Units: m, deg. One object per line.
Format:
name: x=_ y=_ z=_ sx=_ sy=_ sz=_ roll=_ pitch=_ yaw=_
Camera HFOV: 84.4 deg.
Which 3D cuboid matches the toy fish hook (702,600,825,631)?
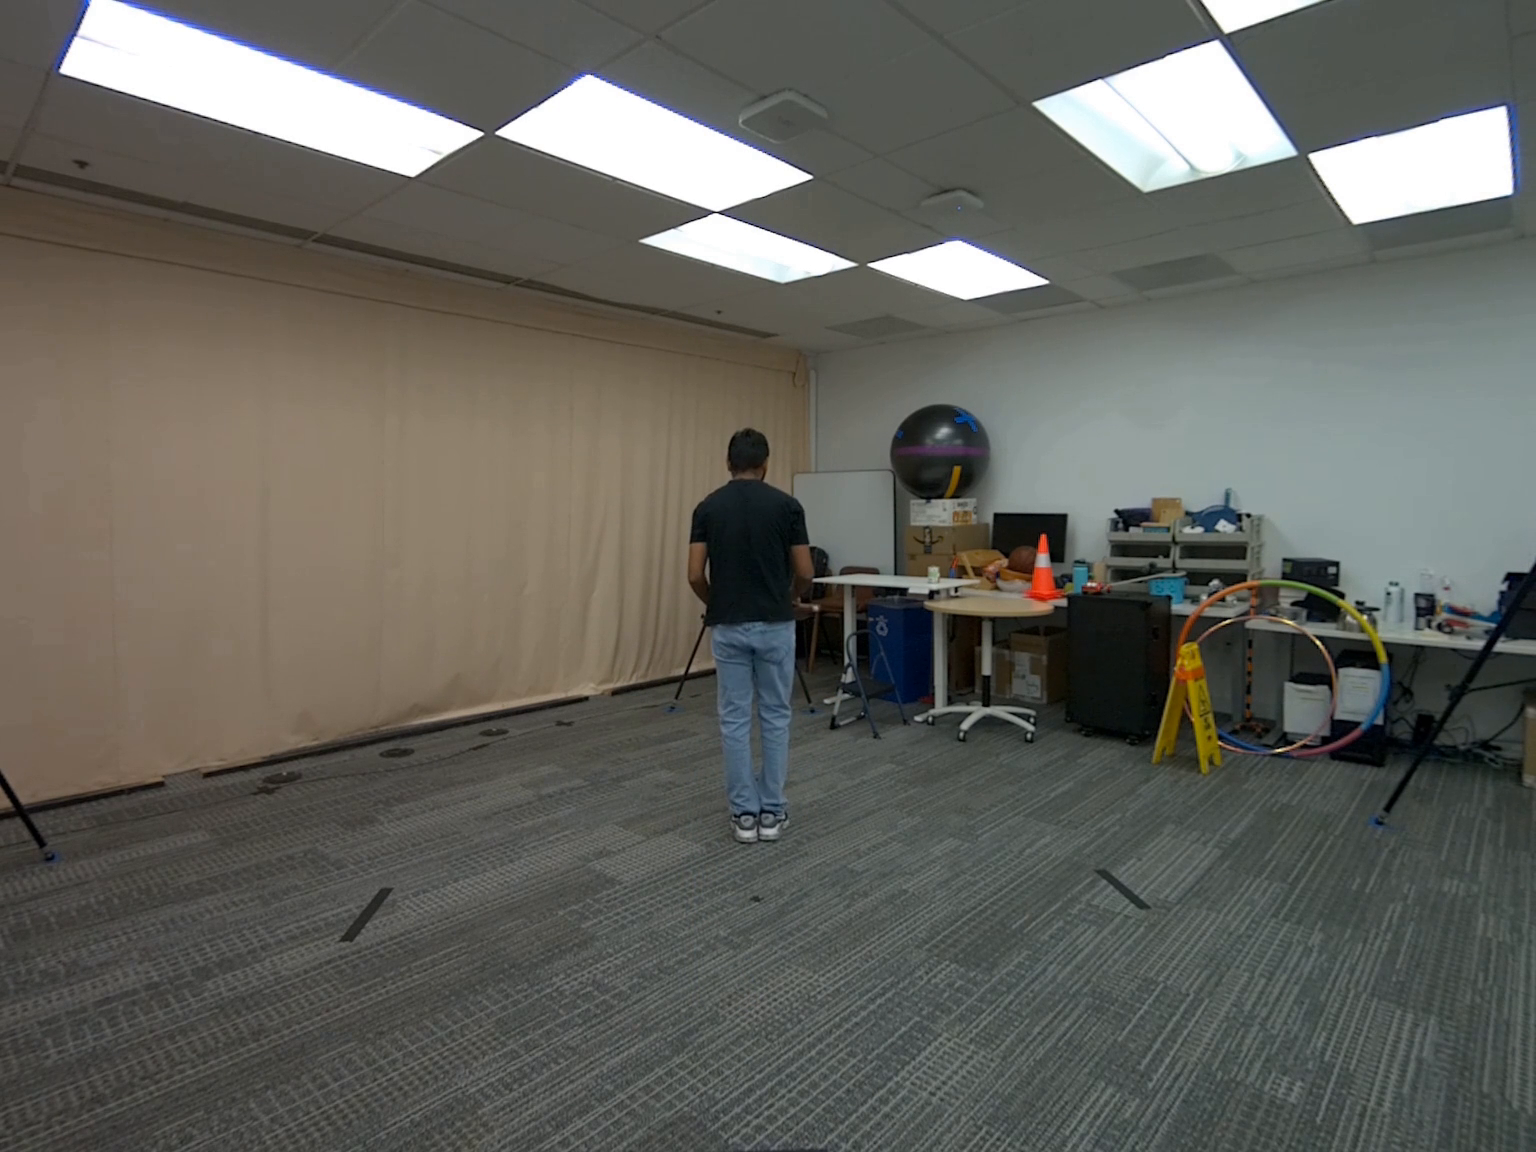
toy fish hook: x=-0.020 y=0.175 z=3.816 sx=0.515 sy=0.048 sz=0.223 roll=-3 pitch=16 yaw=16
